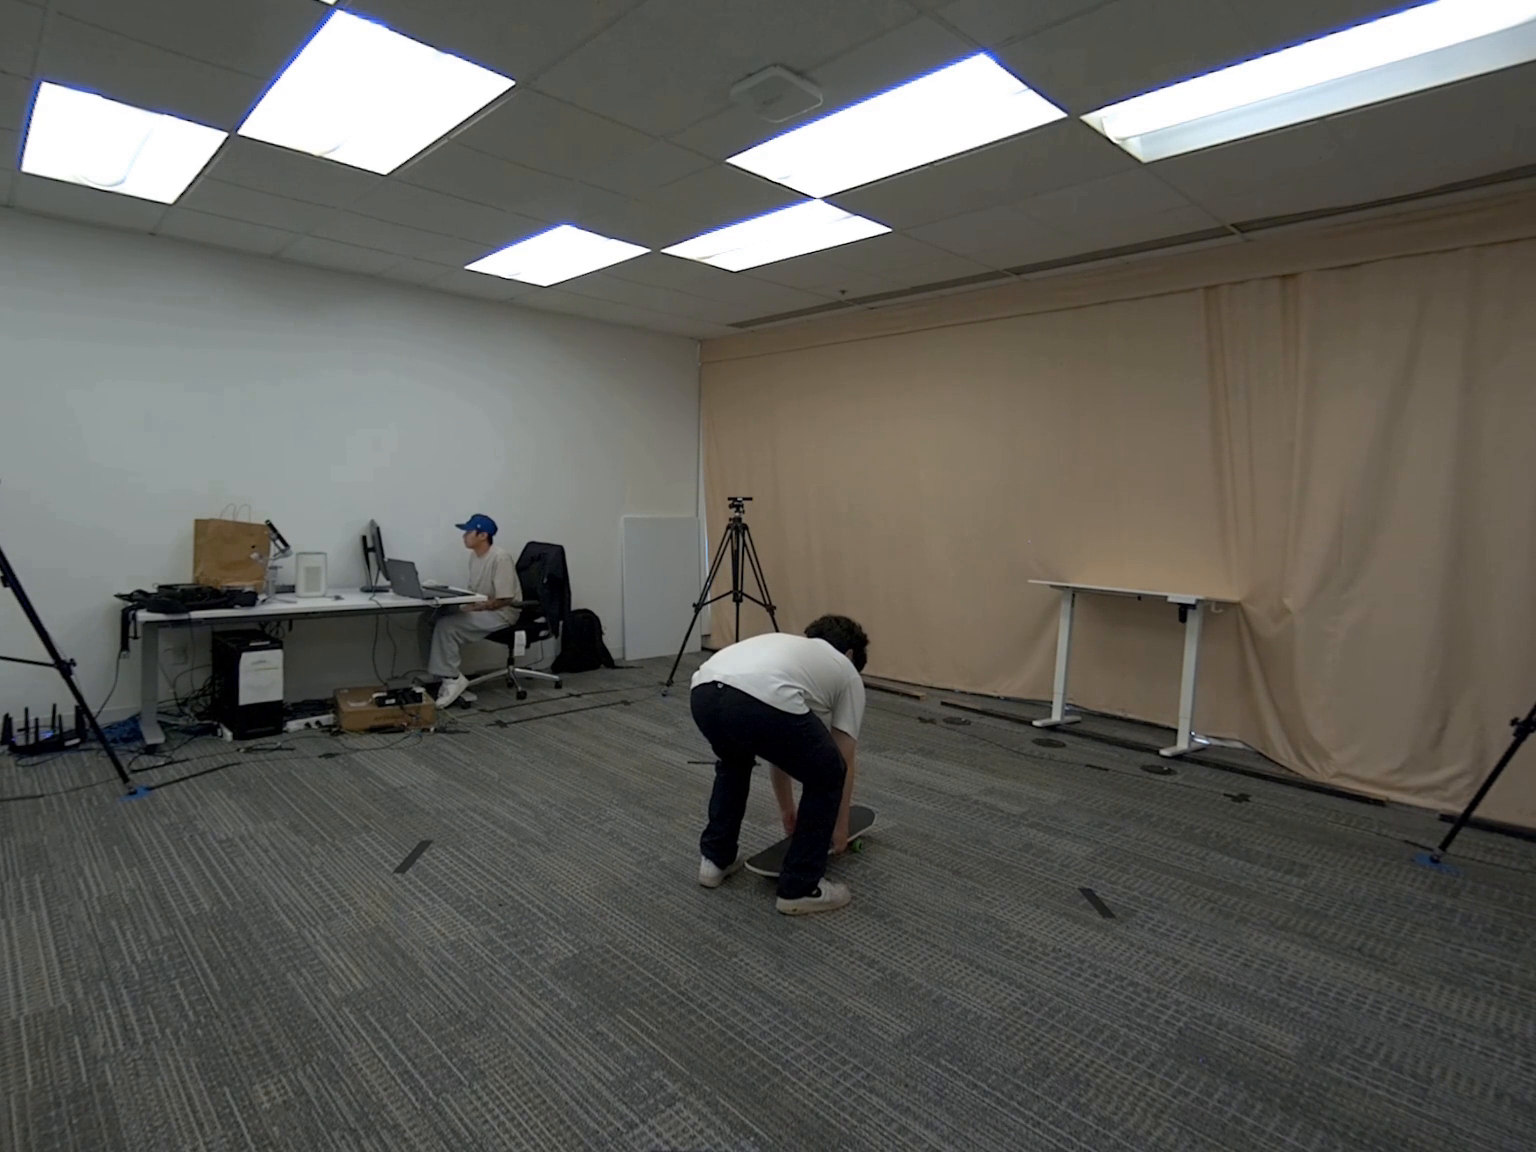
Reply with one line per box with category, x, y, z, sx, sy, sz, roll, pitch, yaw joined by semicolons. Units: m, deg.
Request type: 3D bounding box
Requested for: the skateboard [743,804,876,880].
skateboard;0.173;1.041;3.235;0.198;0.110;0.769;5;7;34
